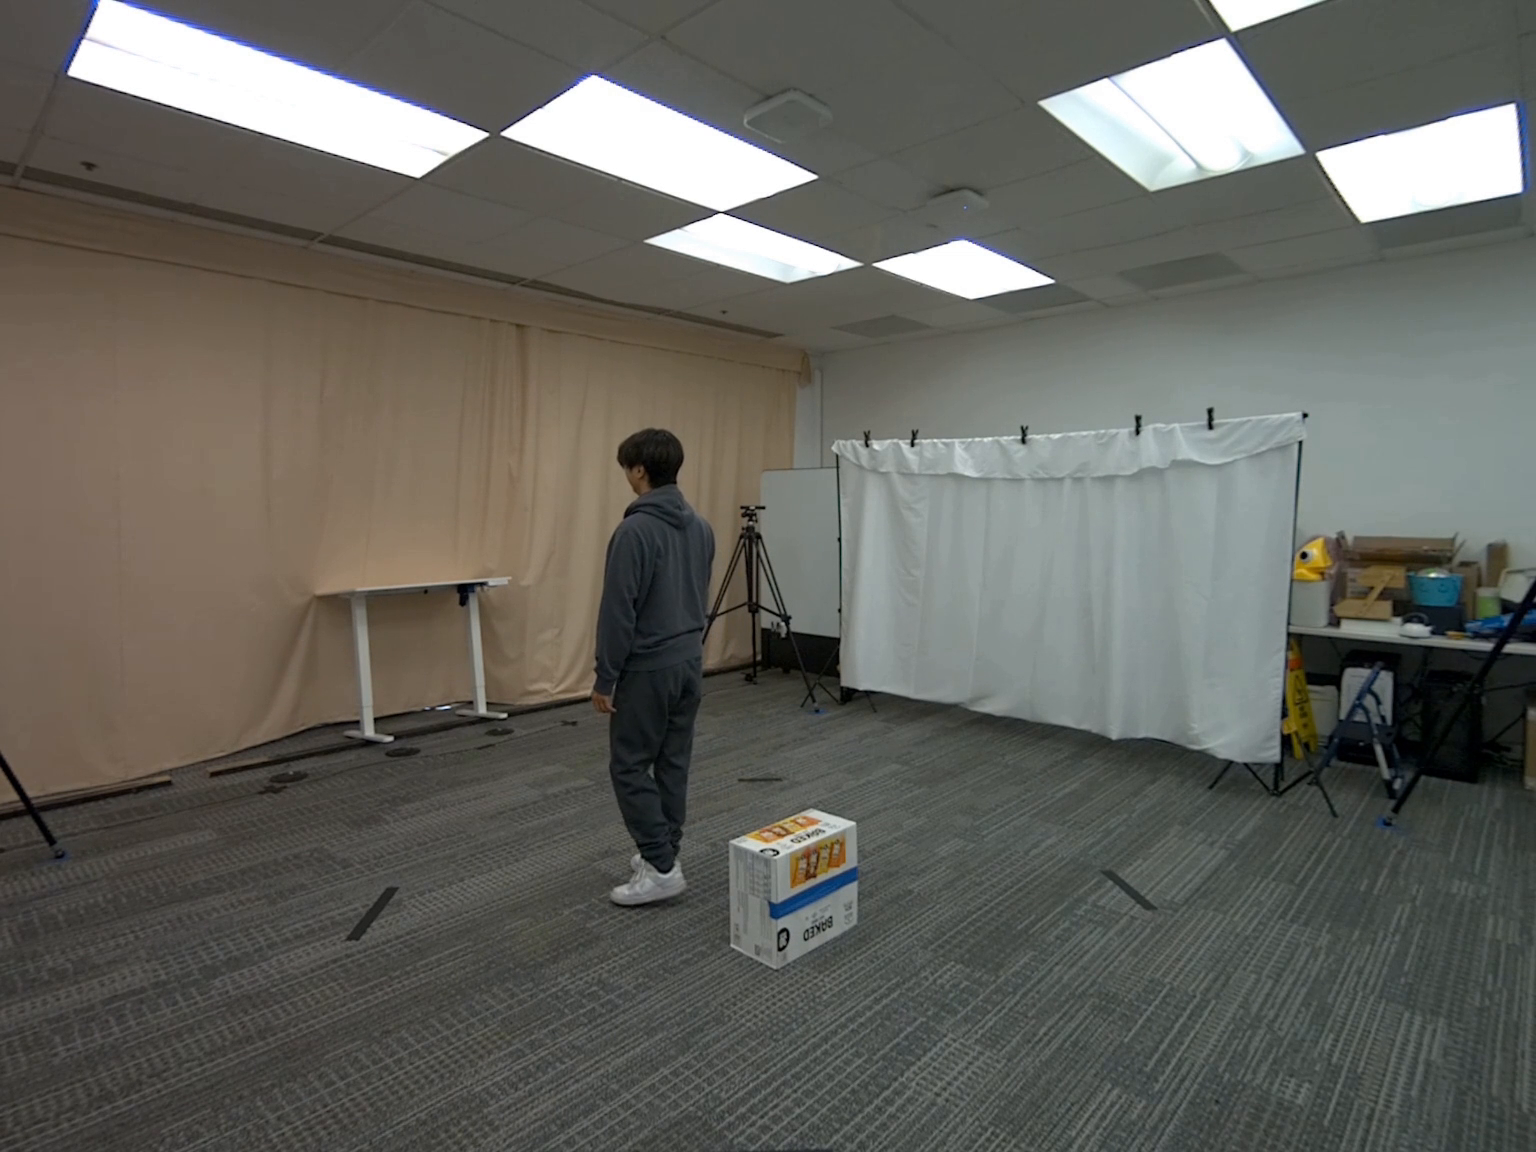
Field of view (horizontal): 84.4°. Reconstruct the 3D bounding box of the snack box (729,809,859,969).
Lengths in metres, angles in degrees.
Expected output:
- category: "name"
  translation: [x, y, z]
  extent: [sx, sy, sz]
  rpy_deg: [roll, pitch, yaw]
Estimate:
- category: "snack box"
  translation: [0.092, 0.998, 2.725]
  extent: [0.212, 0.340, 0.393]
  rpy_deg: [1, 3, 45]
